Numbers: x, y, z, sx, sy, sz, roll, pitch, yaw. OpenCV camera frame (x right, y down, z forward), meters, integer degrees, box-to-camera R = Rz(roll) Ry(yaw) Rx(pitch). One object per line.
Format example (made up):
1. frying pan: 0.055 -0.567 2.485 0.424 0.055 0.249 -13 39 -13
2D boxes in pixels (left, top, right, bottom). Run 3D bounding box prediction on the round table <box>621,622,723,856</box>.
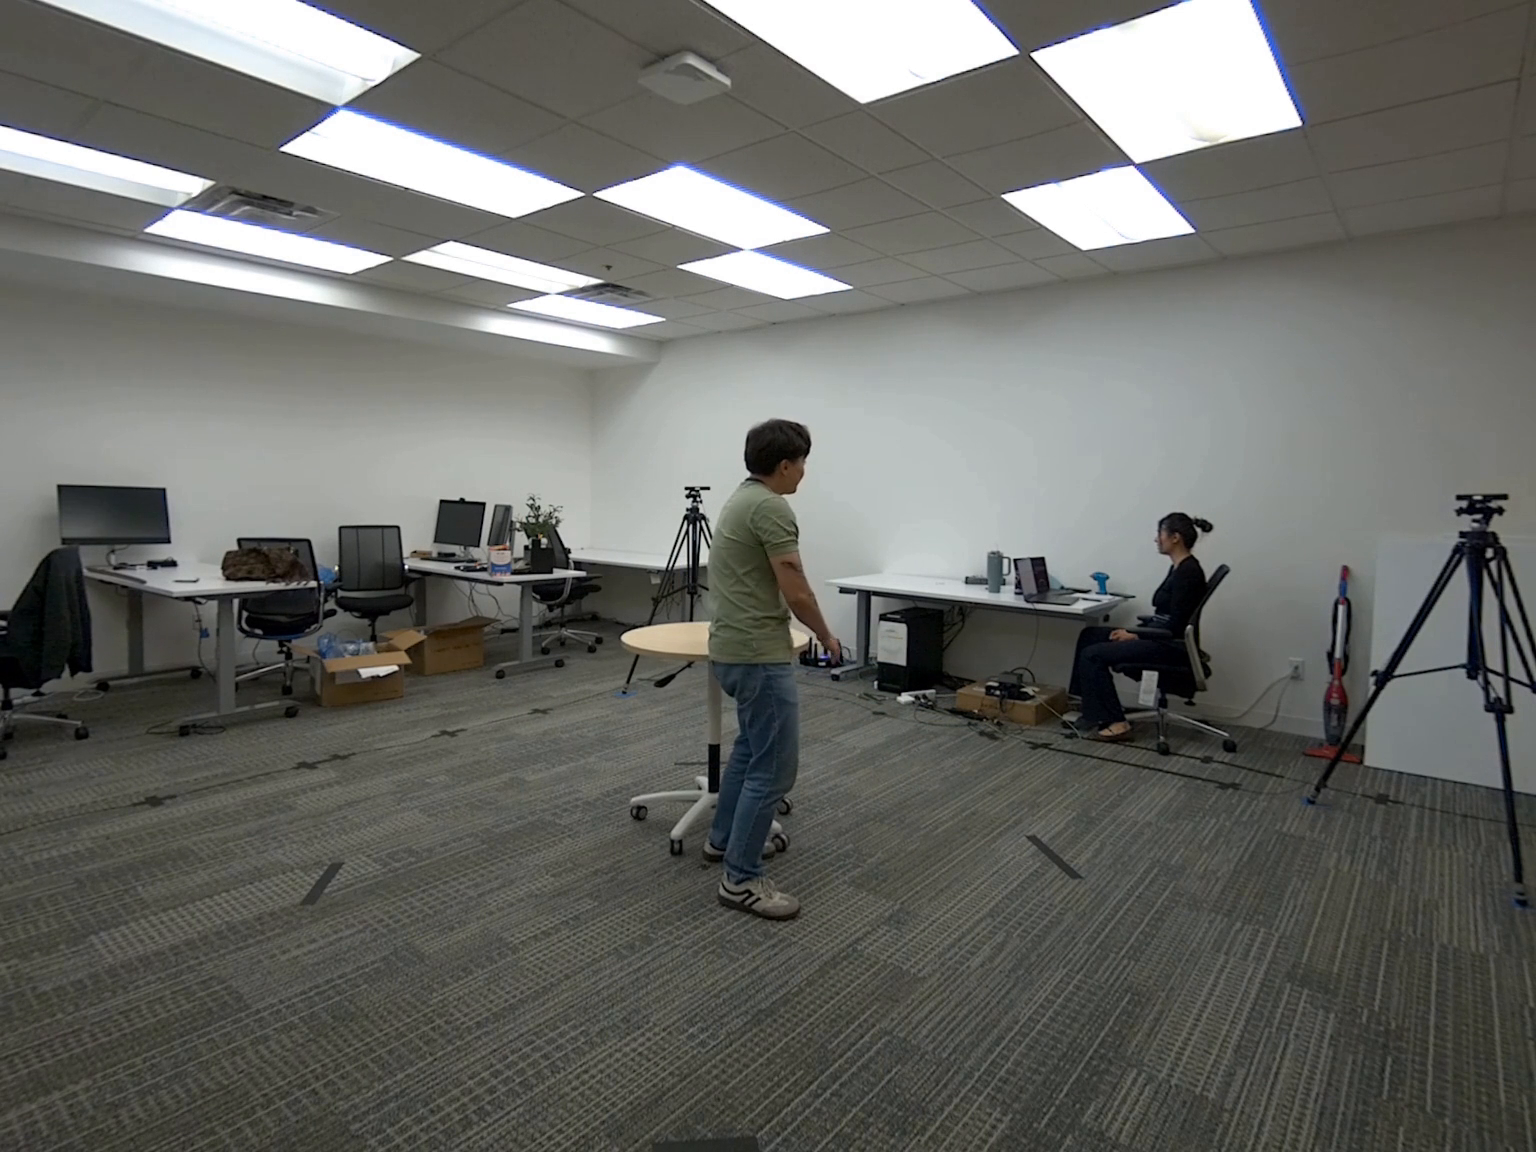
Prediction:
1. round table: -0.231 0.637 3.491 0.763 0.792 0.767 0 4 -2
